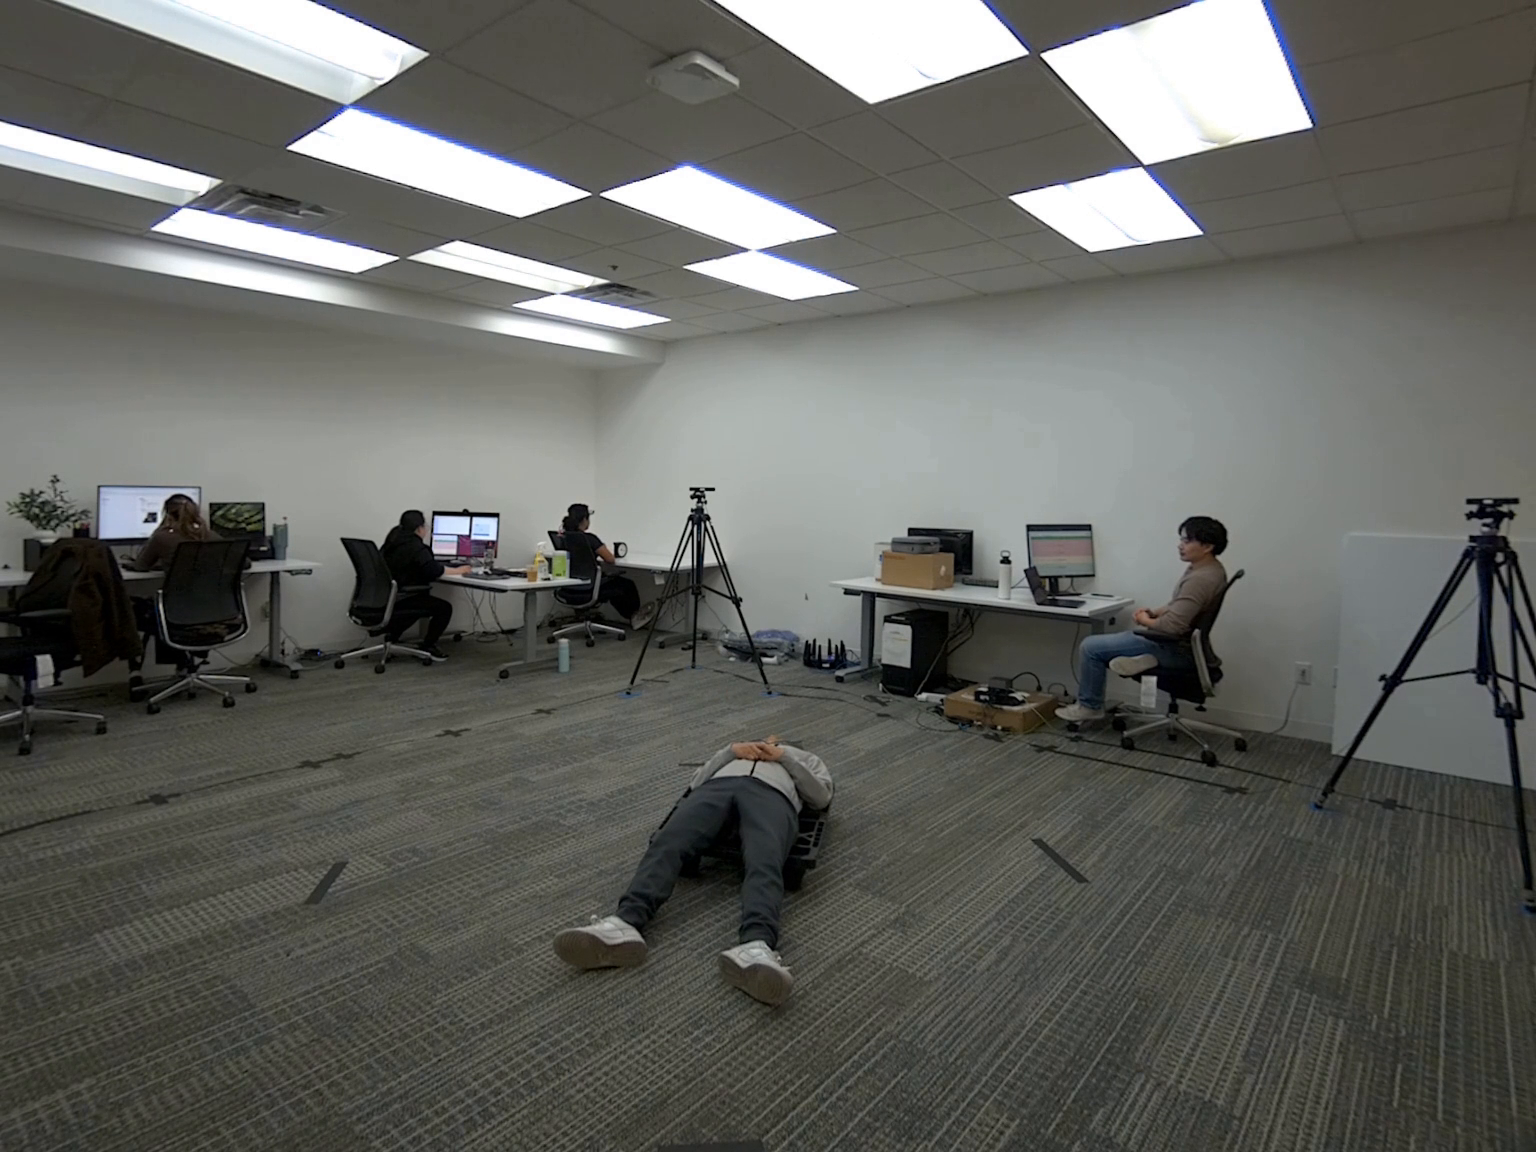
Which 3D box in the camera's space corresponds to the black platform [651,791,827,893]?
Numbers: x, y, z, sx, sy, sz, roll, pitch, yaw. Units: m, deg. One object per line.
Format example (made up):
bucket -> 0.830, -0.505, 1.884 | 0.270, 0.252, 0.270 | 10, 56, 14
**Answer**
black platform -> -0.074, 0.970, 3.350 | 0.614, 0.143, 0.796 | 2, 4, 12
